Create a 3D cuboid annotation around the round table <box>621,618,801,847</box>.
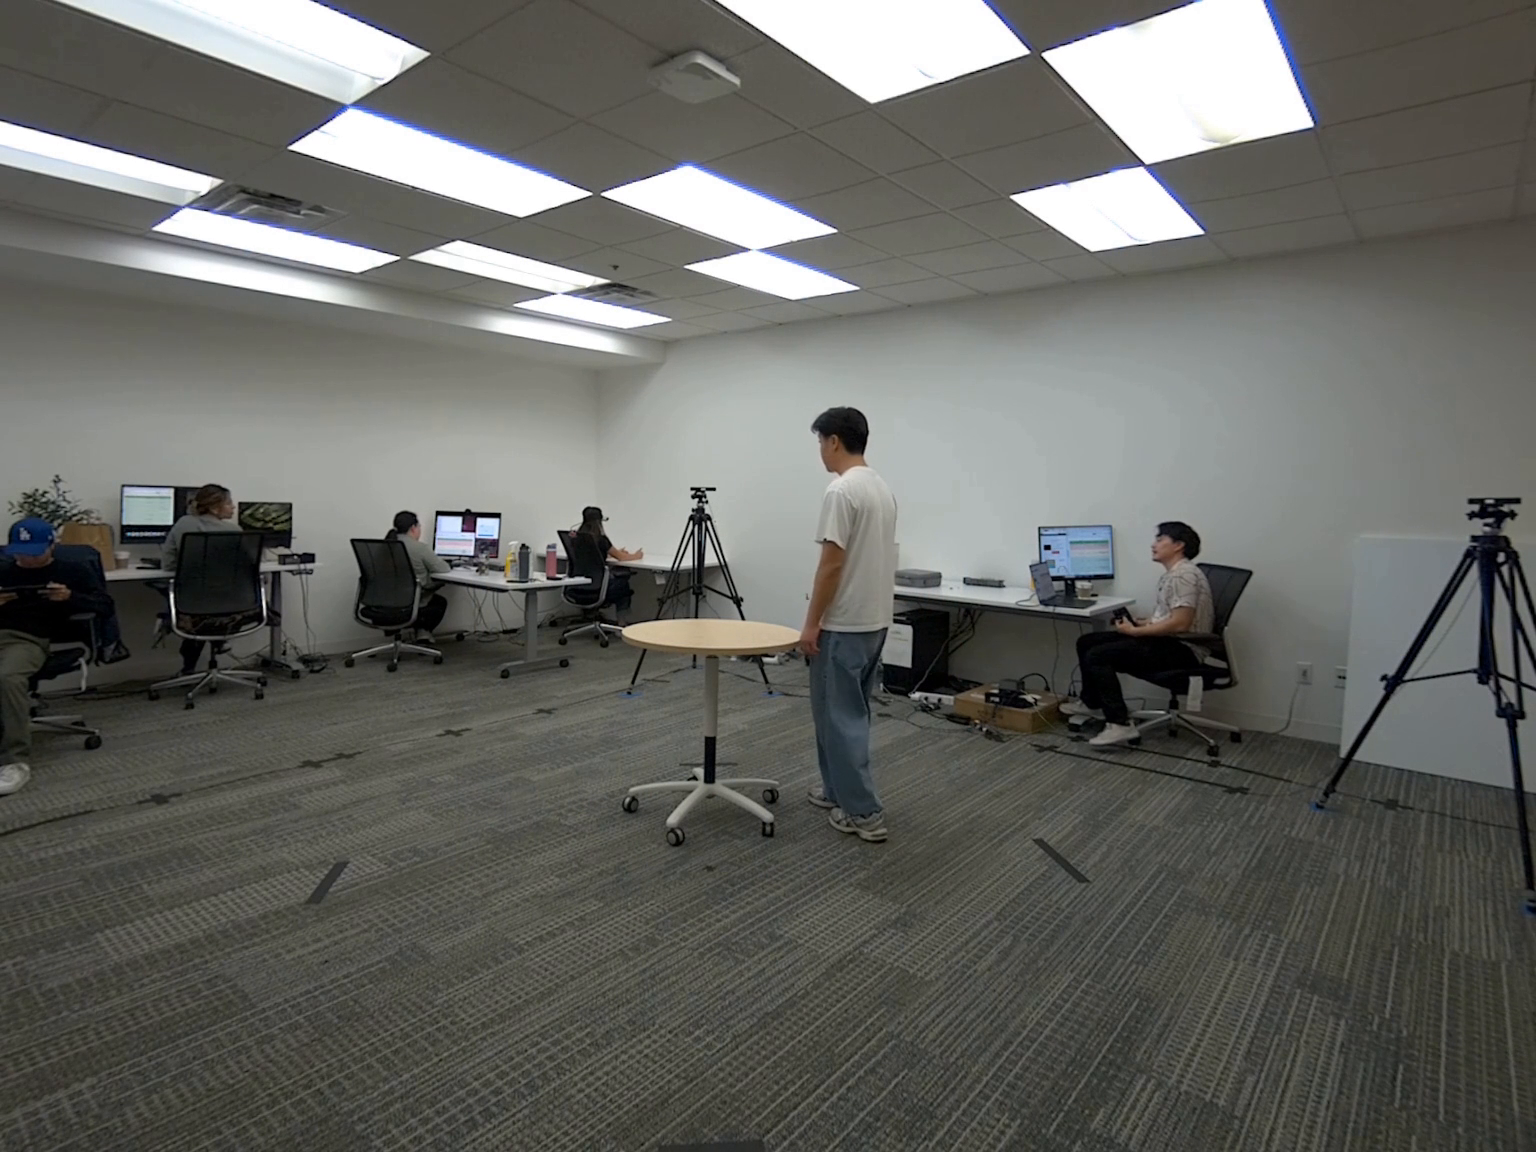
[{"bbox_3d":[-0.248,0.625,3.618,0.784,0.784,0.789,1,4,-2],"label":"round table"}]
